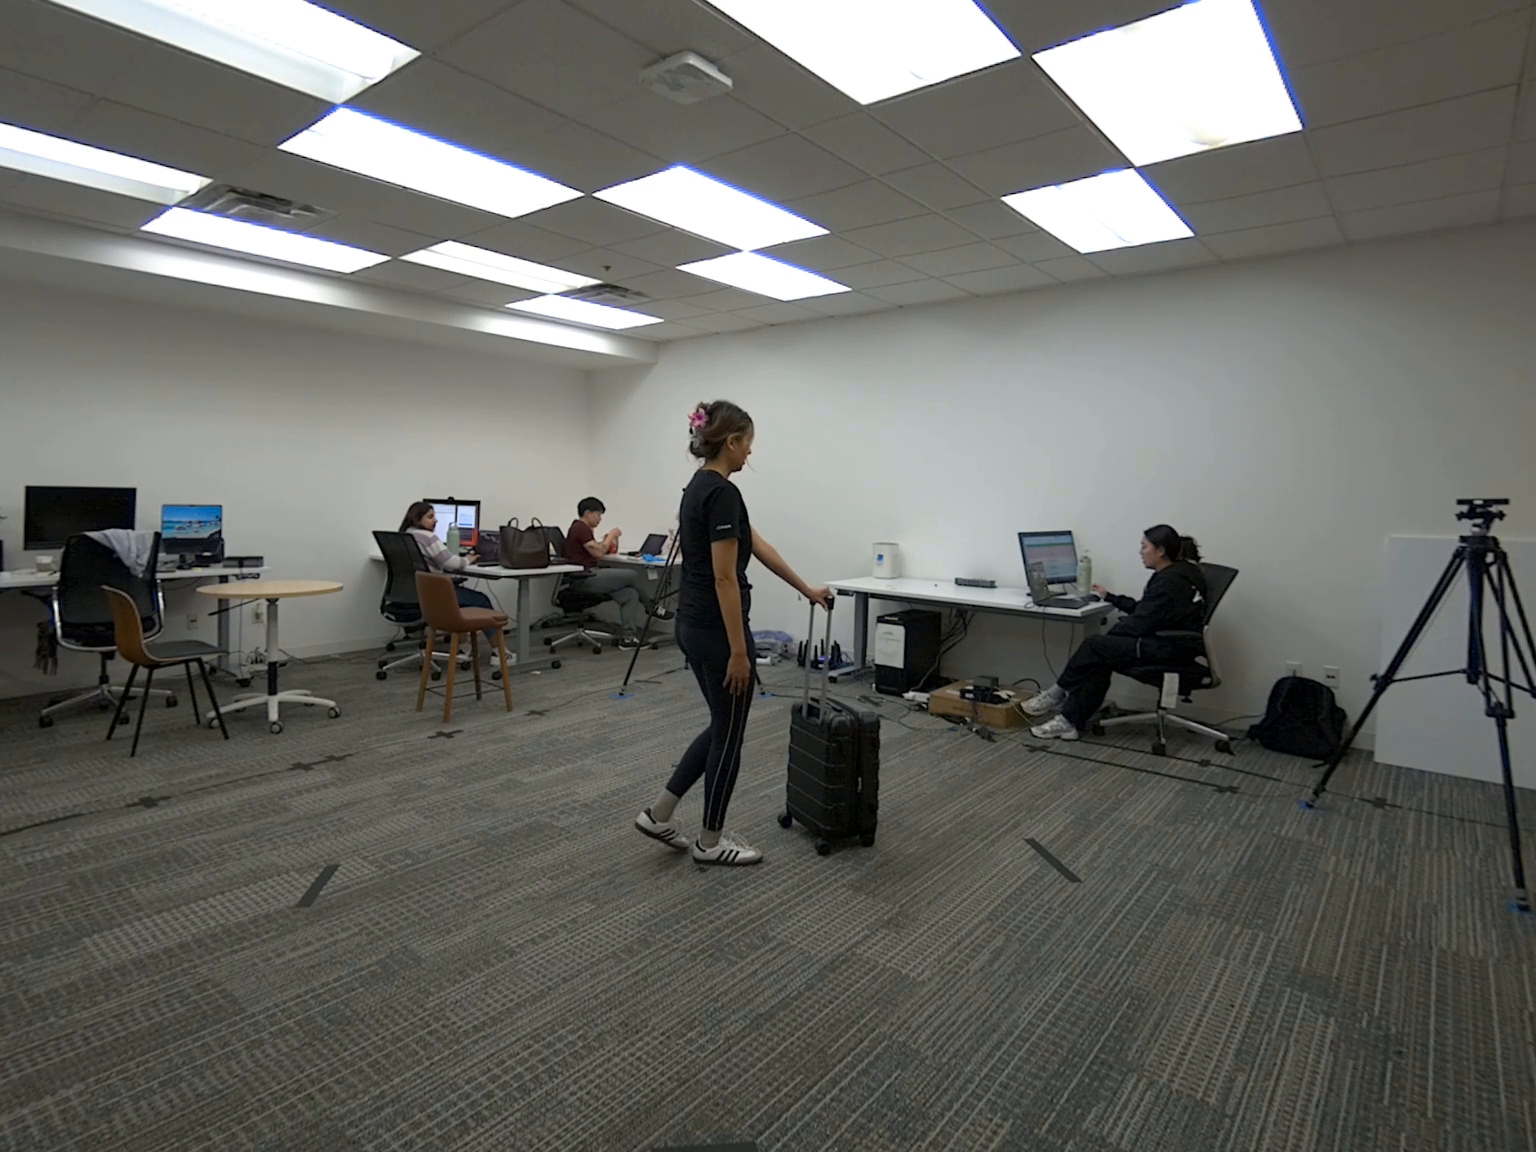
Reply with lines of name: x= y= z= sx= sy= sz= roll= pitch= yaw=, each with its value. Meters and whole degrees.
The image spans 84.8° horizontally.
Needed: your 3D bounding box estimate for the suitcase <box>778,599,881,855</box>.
suitcase: x=0.266 y=0.570 z=3.432 sx=0.251 sy=0.977 sz=0.394 roll=4 pitch=2 yaw=-24
